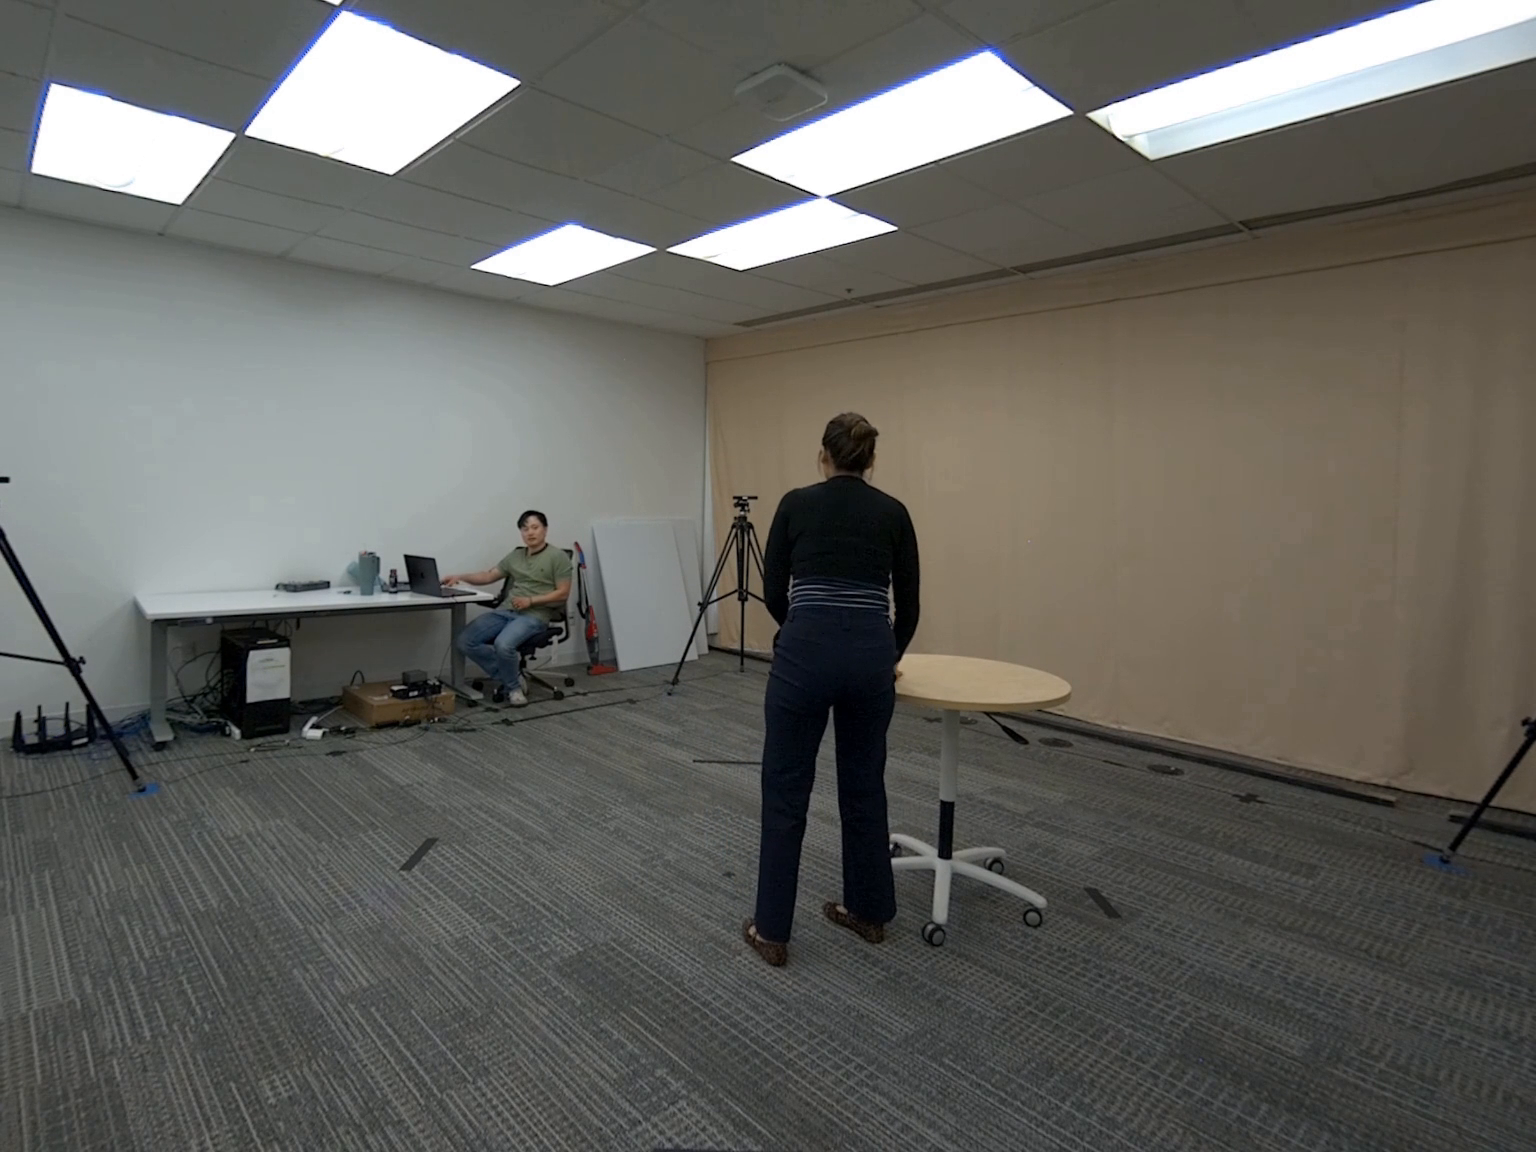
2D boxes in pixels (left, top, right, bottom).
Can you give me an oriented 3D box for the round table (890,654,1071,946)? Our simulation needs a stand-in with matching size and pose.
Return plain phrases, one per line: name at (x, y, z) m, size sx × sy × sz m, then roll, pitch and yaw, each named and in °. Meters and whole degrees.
round table at (0.621, 0.741, 2.964) m, size 0.763 × 0.792 × 0.767 m, roll 2°, pitch 4°, yaw -2°
